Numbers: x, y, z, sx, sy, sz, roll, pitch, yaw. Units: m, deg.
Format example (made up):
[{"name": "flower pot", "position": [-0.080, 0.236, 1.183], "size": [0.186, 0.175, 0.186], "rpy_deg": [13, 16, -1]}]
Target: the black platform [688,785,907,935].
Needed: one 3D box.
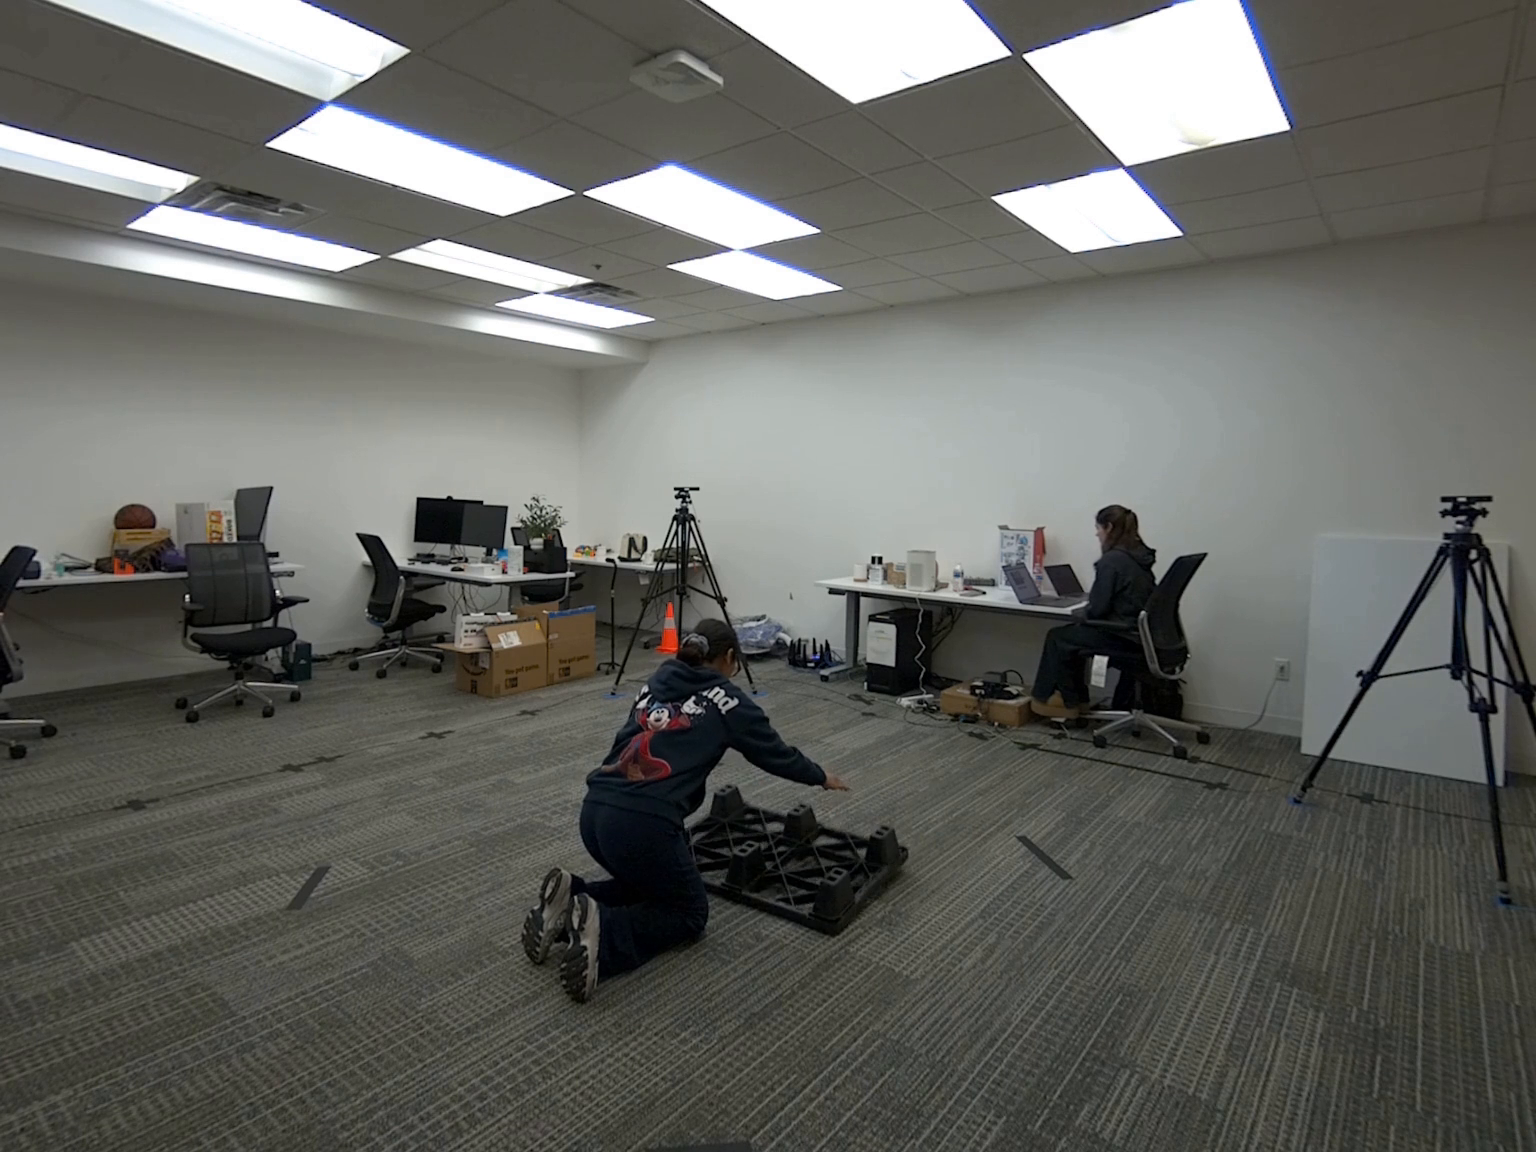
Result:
[{"name": "black platform", "position": [0.009, 0.965, 3.098], "size": [0.831, 0.142, 0.591], "rpy_deg": [5, 12, 33]}]
